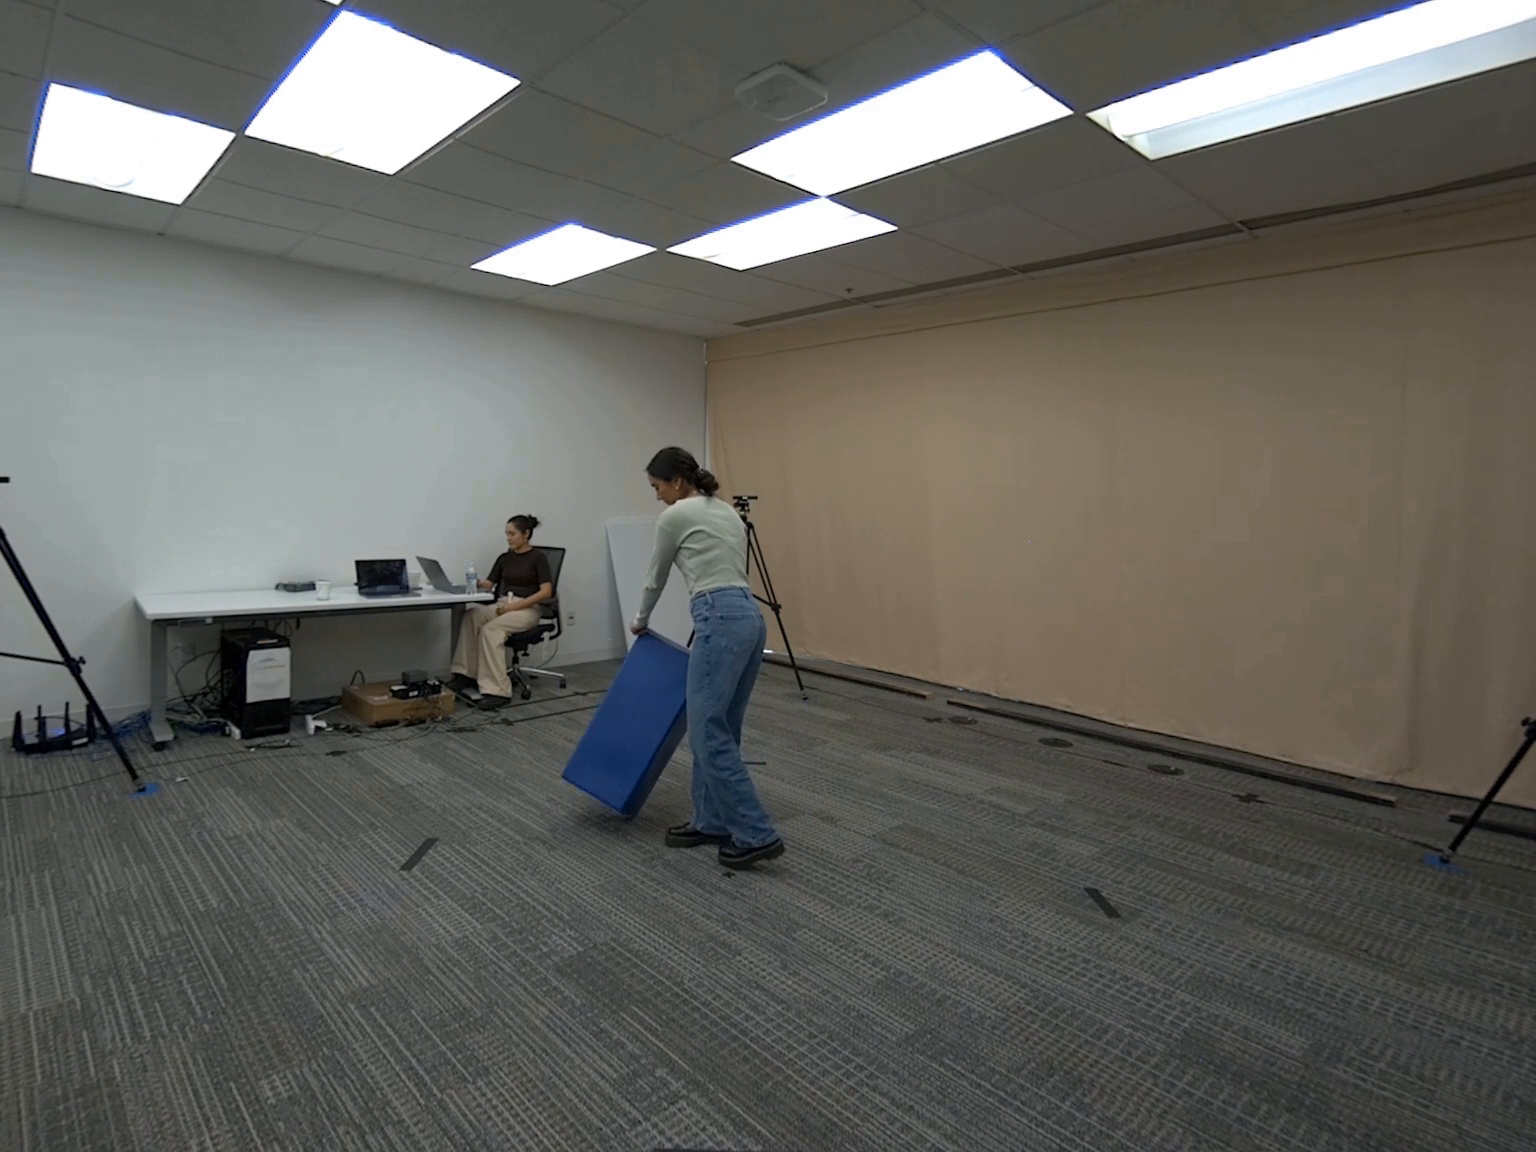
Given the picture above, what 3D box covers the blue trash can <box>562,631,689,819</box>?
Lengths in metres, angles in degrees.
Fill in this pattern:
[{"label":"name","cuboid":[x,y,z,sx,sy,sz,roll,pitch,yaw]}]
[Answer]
[{"label":"blue trash can","cuboid":[-0.558,0.643,3.628,0.383,0.716,0.367,25,-17,12]}]
